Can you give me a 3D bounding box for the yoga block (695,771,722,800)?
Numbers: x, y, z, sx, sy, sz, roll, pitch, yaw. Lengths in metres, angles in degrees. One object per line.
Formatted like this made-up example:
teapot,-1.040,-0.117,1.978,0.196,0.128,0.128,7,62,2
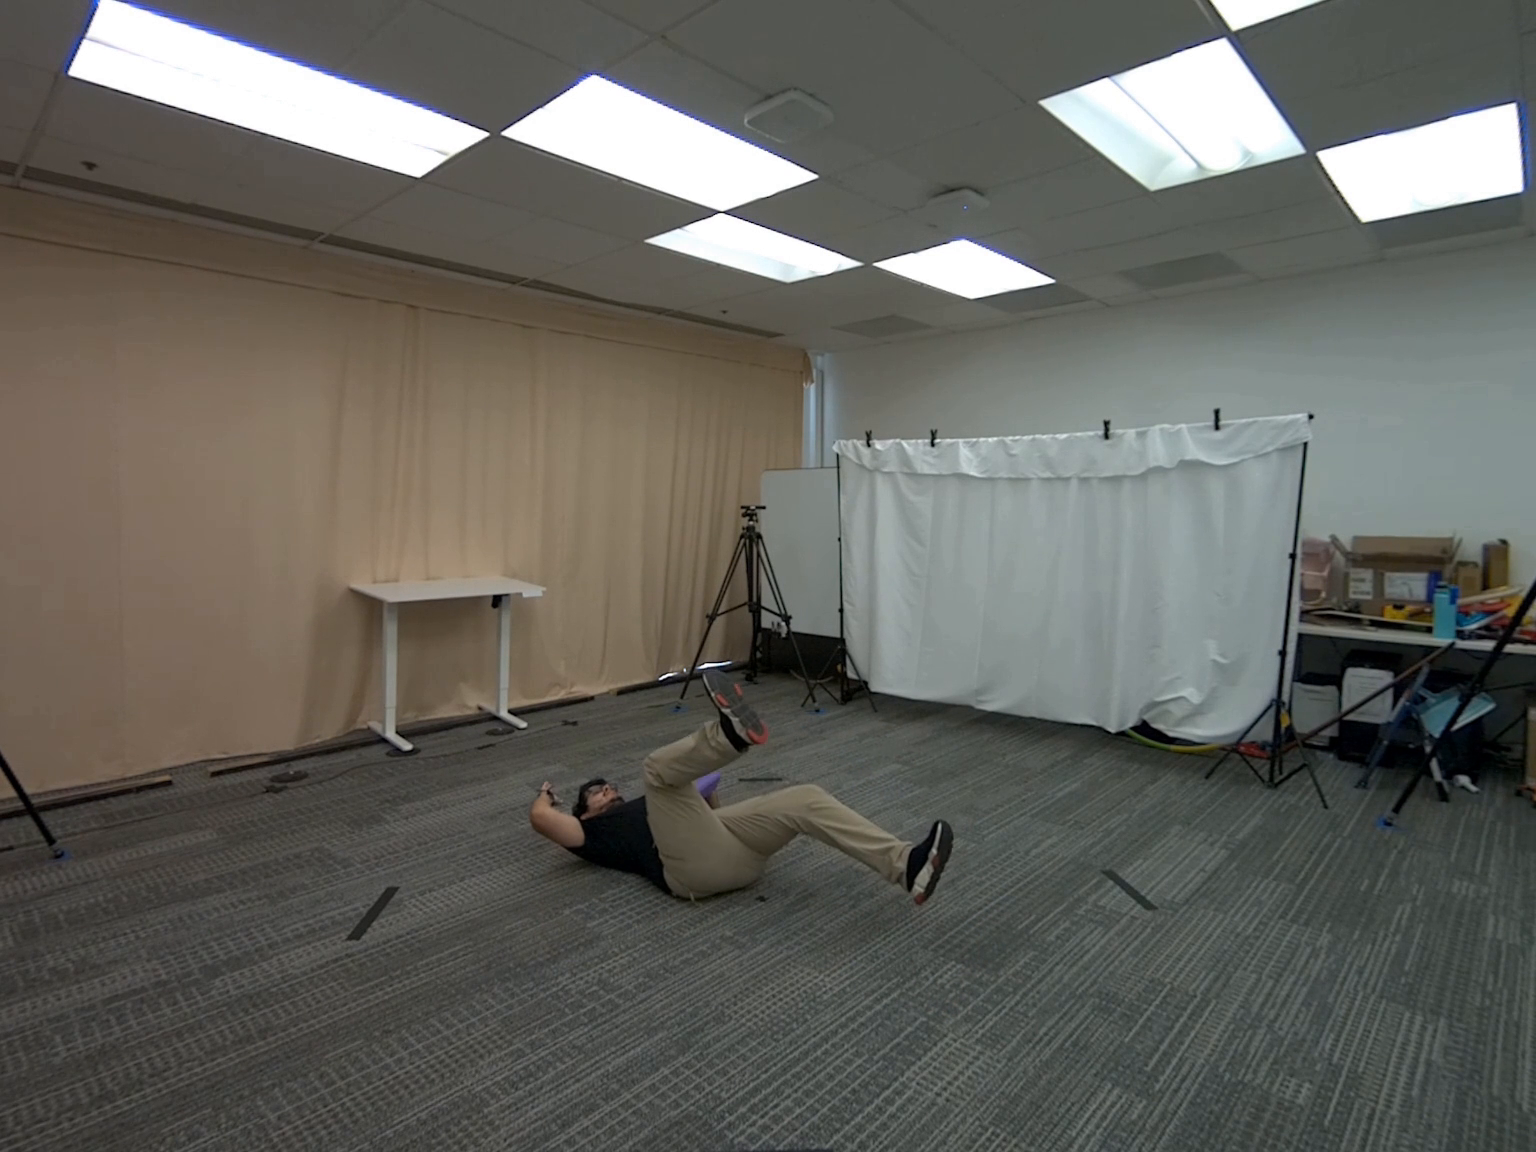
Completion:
yoga block,-0.284,0.795,3.227,0.152,0.076,0.226,20,11,13
